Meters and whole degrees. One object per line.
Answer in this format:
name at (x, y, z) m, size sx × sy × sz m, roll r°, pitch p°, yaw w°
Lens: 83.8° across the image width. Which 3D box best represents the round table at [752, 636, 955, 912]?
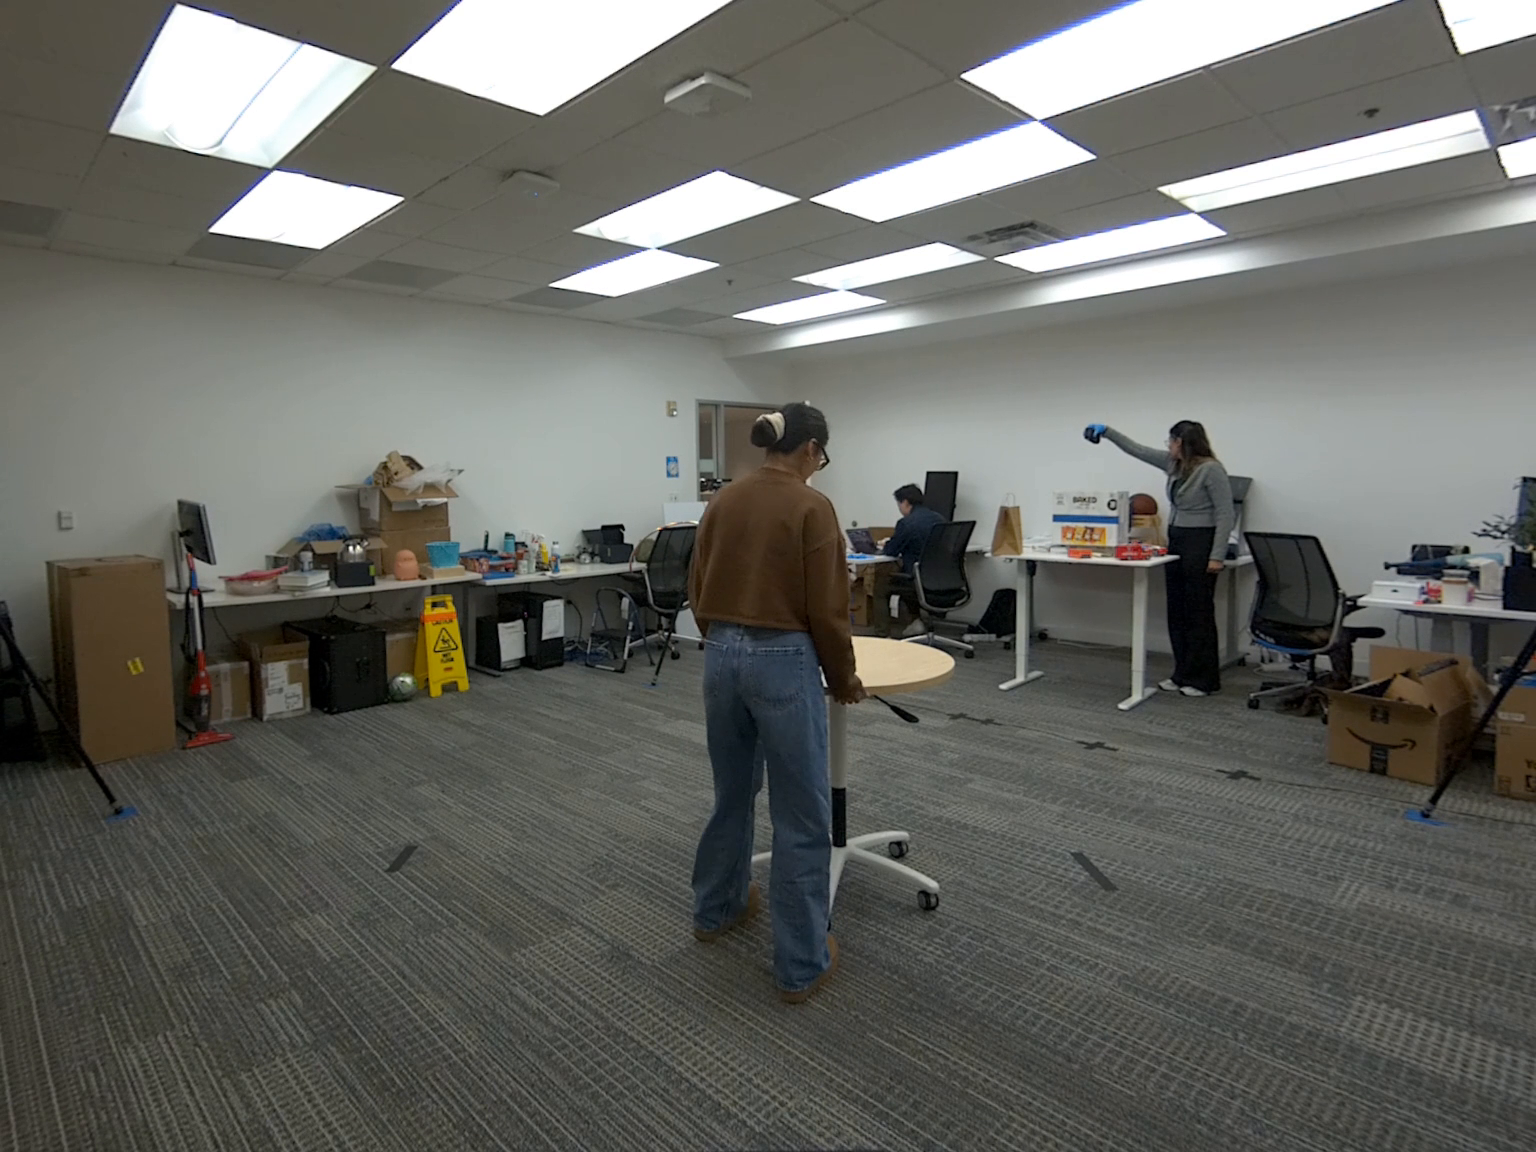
round table at (0.251, 0.672, 2.911) m, size 0.763 × 0.790 × 0.768 m, roll -1°, pitch 6°, yaw -2°
